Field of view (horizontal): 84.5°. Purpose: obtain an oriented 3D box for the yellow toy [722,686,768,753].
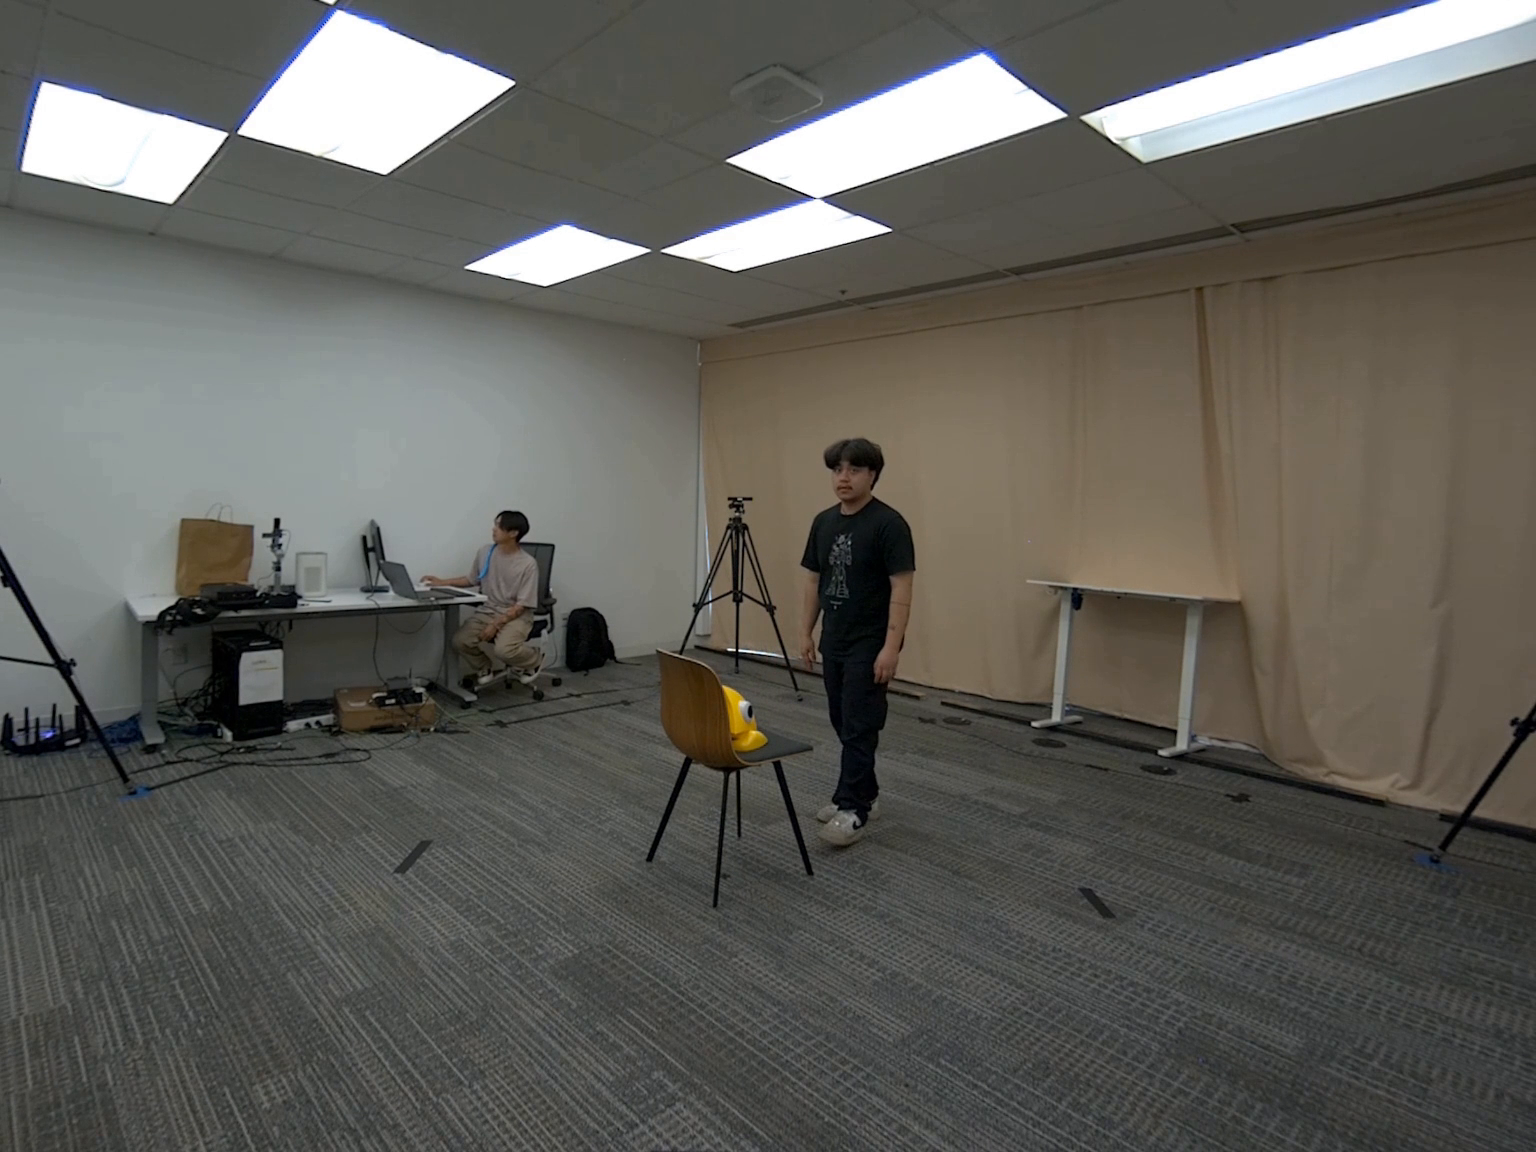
[{"bbox_3d":[-0.127,0.514,3.147,0.189,0.230,0.210,-8,8,-39],"label":"yellow toy"}]
